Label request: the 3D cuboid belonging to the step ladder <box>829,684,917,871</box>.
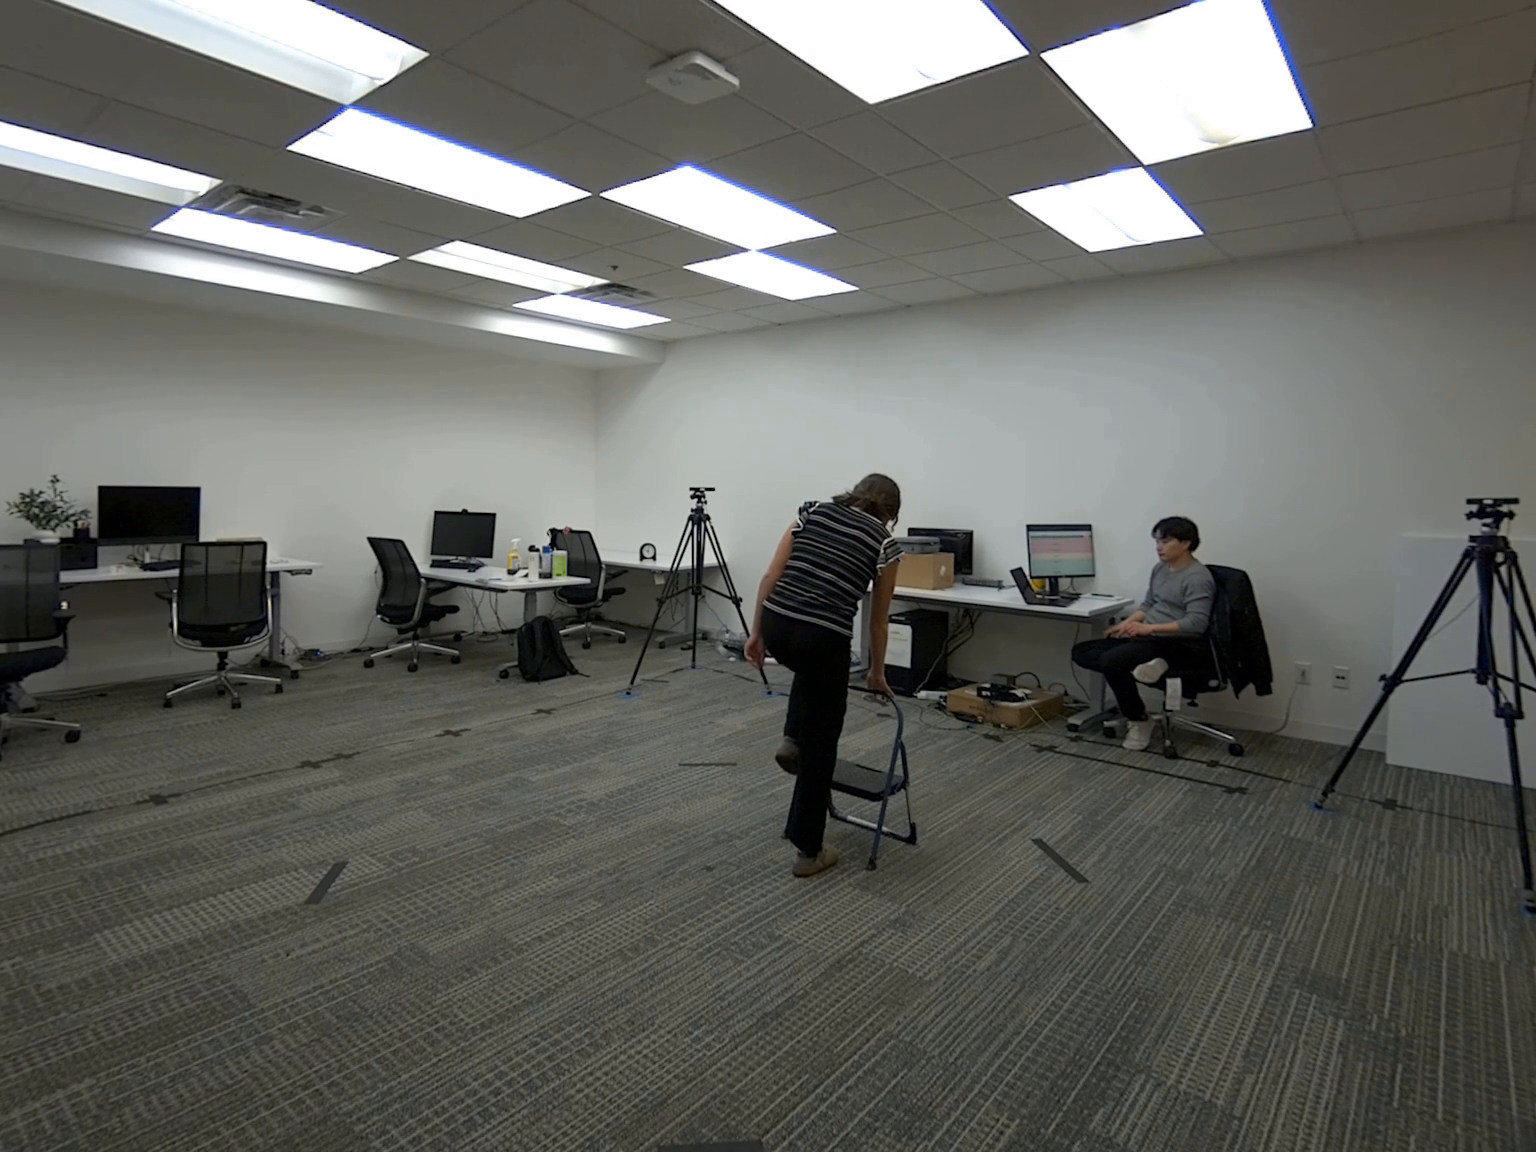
[{"bbox_3d":[0.330,0.751,3.379,0.445,0.604,0.339,5,5,40],"label":"step ladder"}]
